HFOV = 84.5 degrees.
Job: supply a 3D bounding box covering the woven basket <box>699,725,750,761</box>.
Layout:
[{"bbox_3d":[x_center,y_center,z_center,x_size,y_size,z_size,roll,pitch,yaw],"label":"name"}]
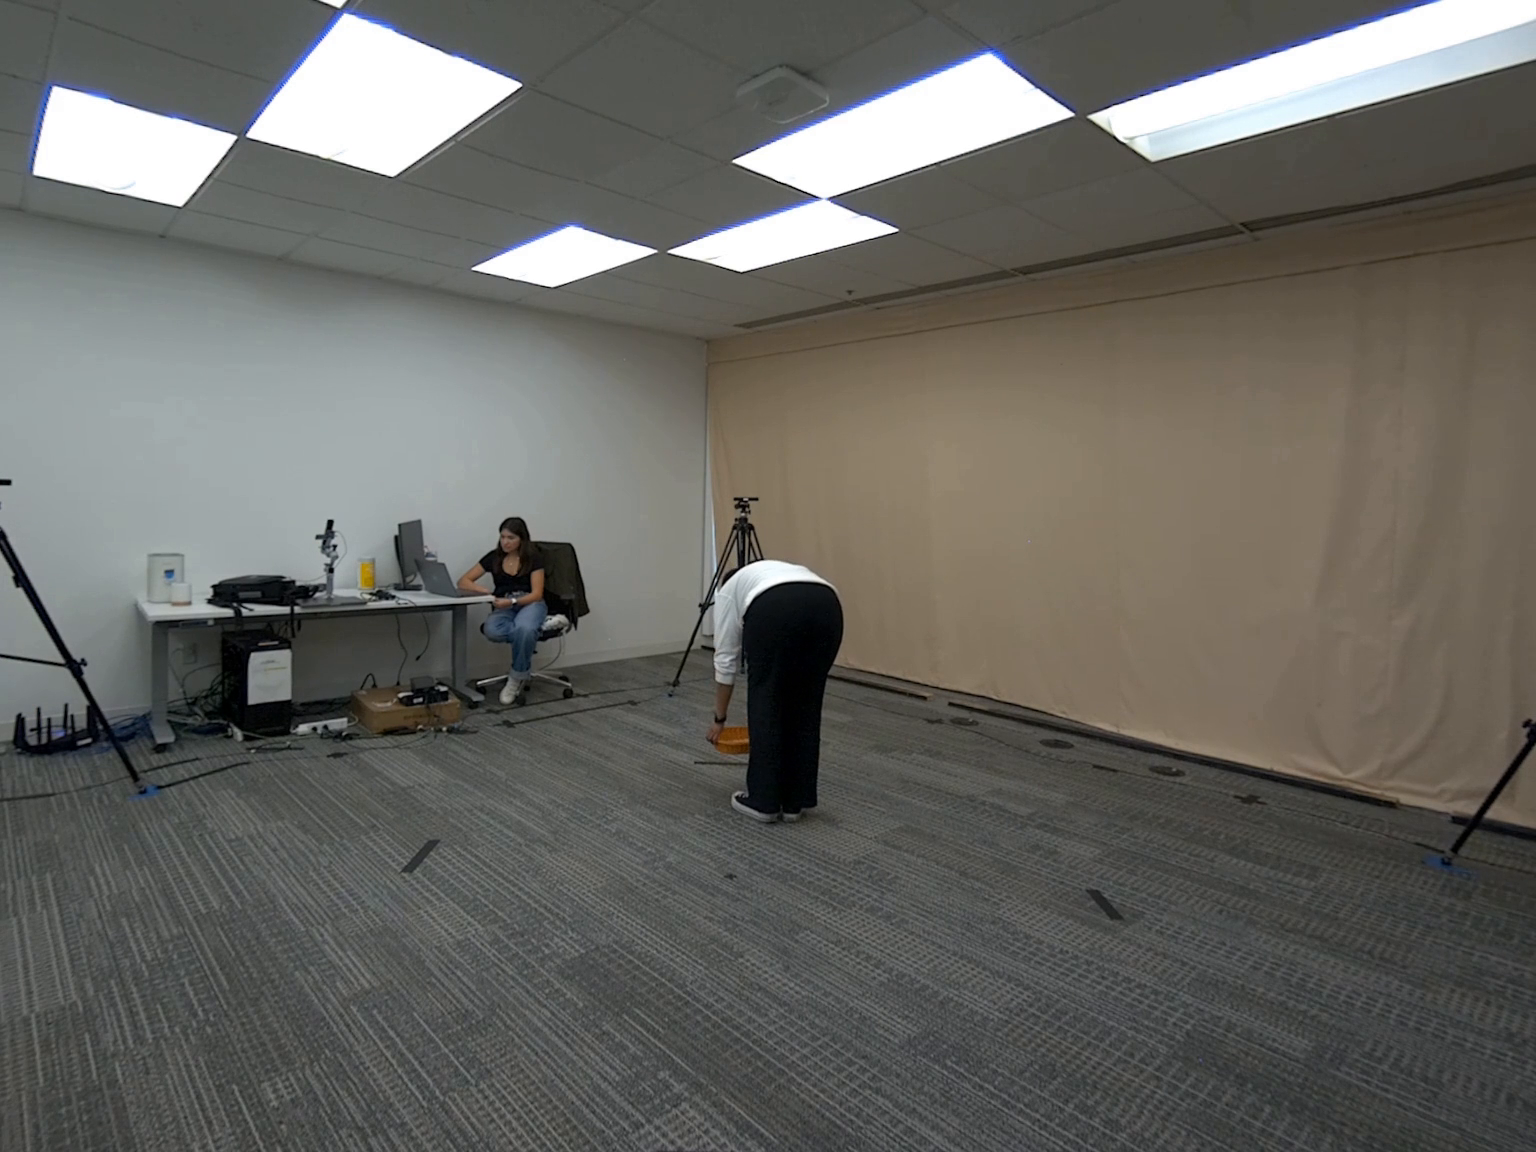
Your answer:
[{"bbox_3d":[-0.126,0.793,4.056,0.345,0.073,0.257,1,8,-19],"label":"woven basket"}]
